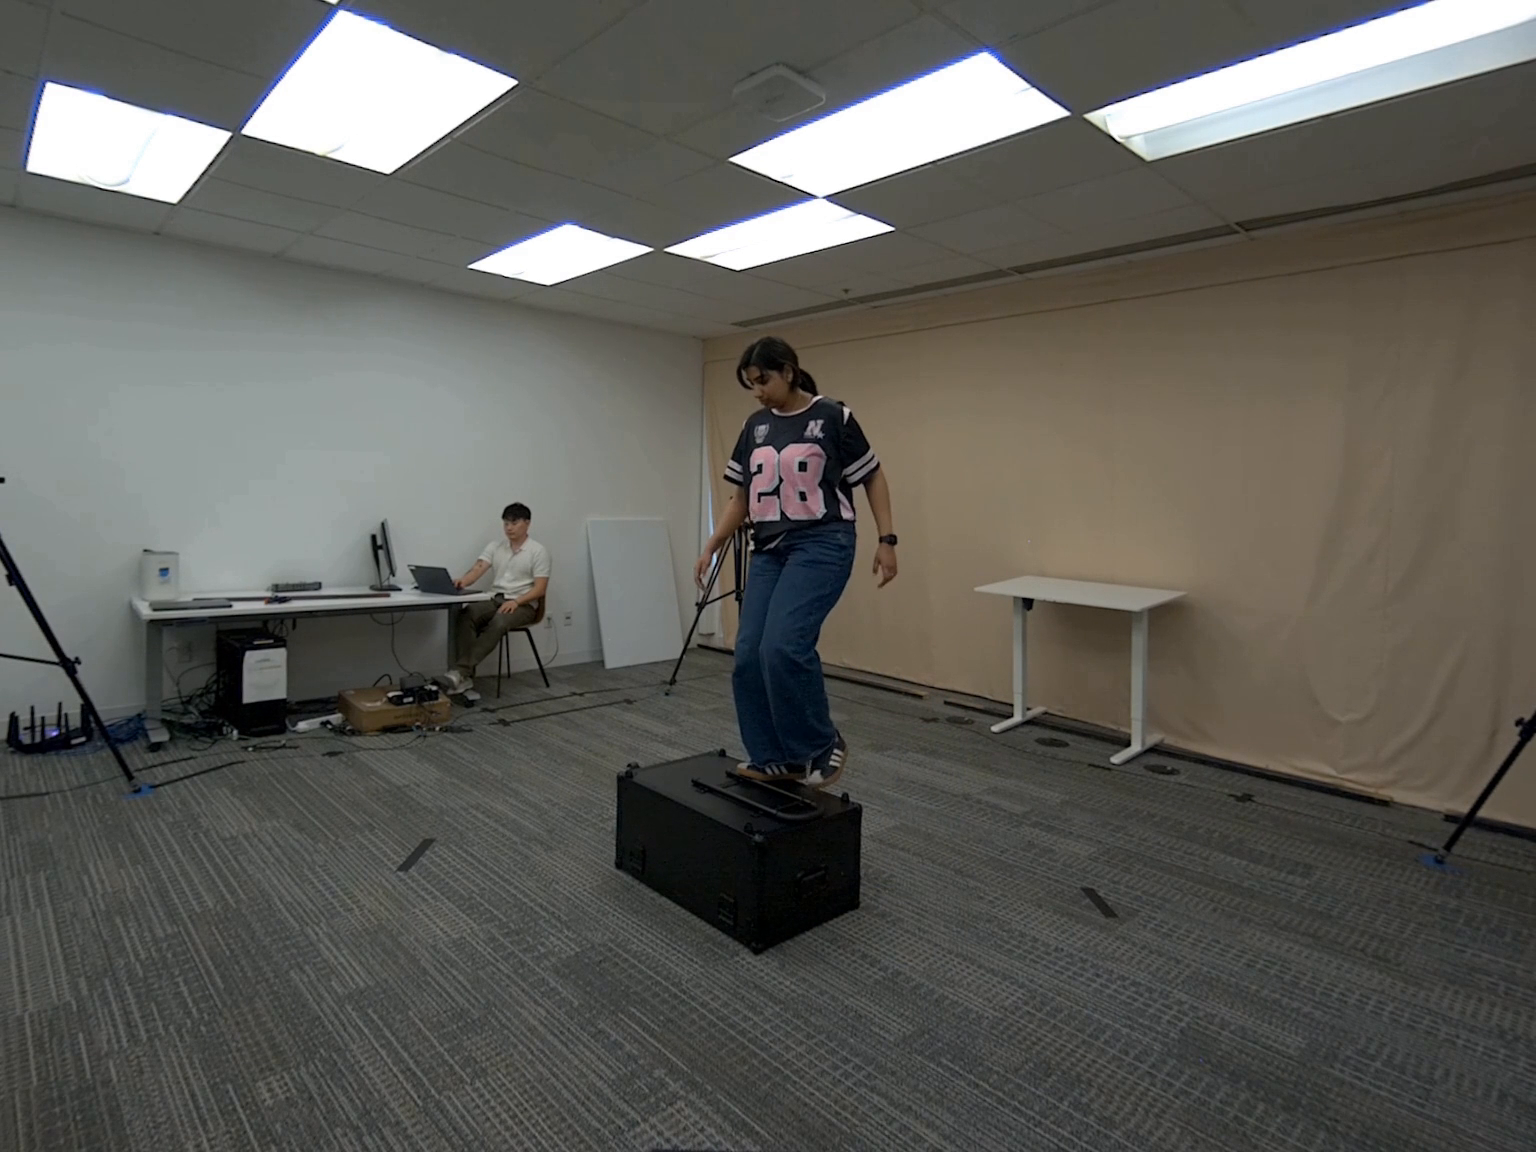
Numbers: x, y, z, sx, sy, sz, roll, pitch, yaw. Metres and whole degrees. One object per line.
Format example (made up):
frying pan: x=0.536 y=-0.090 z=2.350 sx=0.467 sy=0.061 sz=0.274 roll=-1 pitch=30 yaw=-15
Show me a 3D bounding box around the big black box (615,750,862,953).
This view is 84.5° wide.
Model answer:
big black box: x=-0.159 y=0.929 z=3.021 sx=0.512 sy=0.384 sz=0.891 roll=-4 pitch=7 yaw=-42
